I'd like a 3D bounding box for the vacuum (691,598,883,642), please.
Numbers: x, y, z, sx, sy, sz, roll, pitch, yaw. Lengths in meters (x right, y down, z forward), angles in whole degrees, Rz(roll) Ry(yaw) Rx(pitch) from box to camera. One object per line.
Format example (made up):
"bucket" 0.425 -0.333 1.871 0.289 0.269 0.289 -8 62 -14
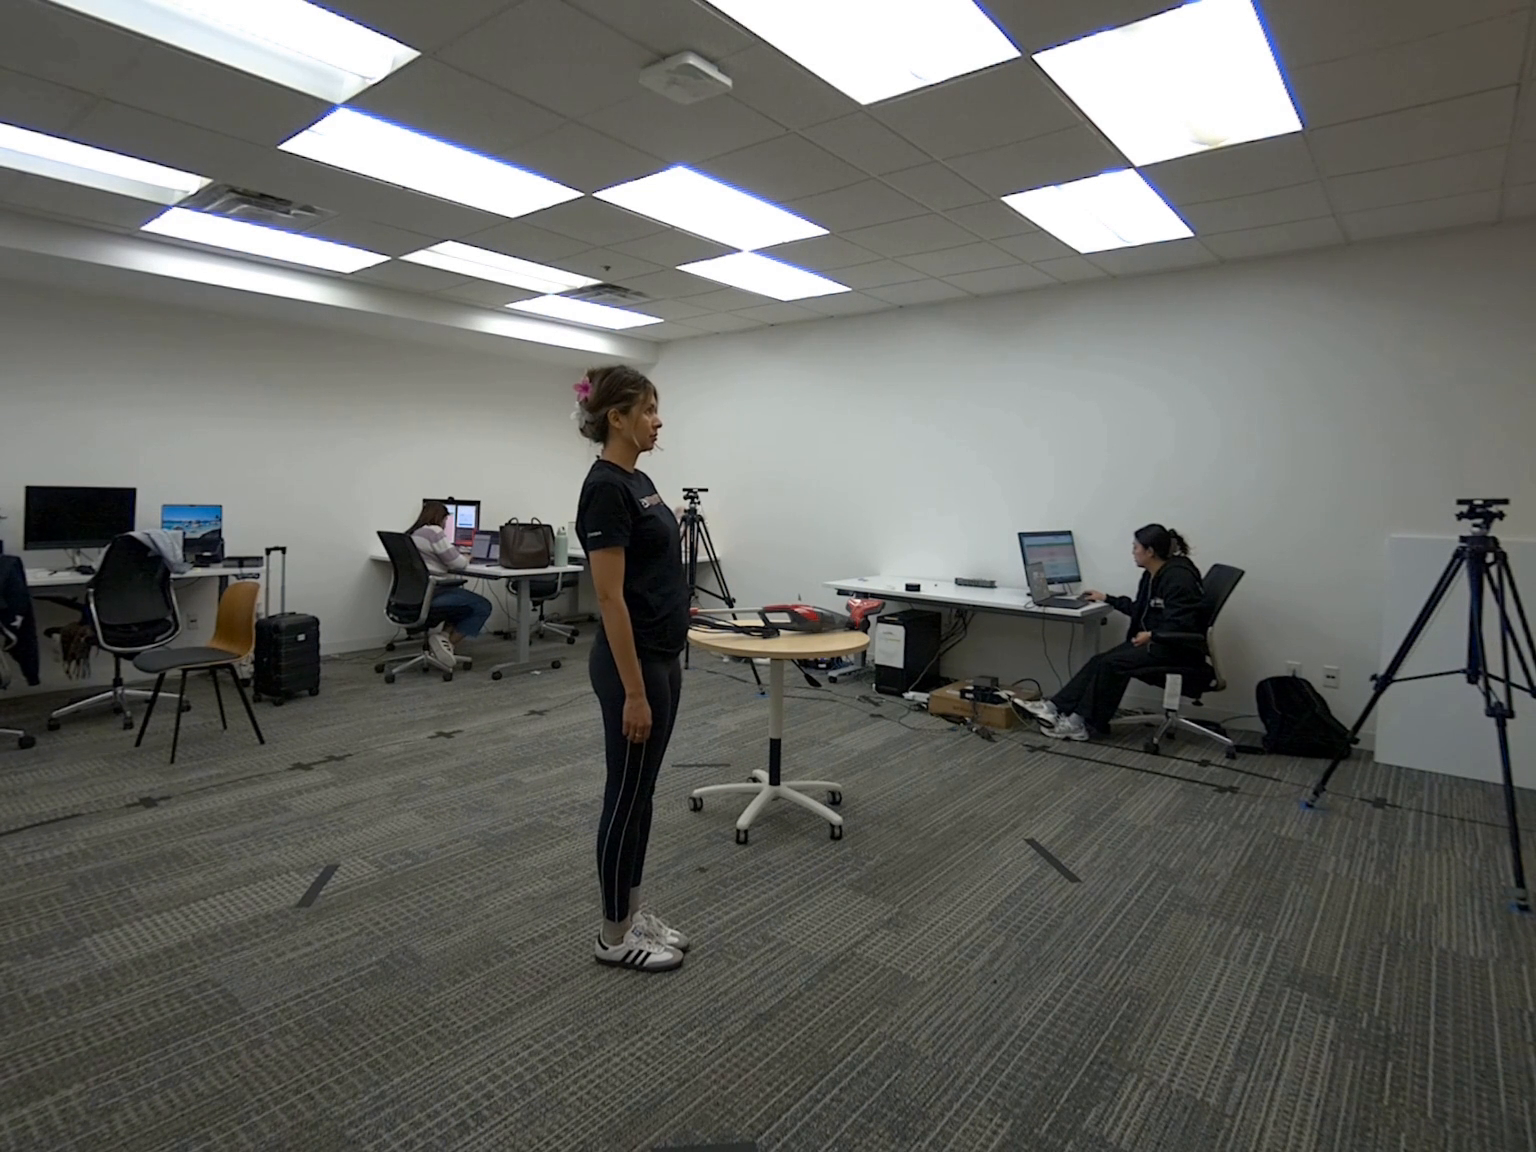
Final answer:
"vacuum" -0.029 0.196 3.544 1.023 0.144 0.258 -3 0 -27
